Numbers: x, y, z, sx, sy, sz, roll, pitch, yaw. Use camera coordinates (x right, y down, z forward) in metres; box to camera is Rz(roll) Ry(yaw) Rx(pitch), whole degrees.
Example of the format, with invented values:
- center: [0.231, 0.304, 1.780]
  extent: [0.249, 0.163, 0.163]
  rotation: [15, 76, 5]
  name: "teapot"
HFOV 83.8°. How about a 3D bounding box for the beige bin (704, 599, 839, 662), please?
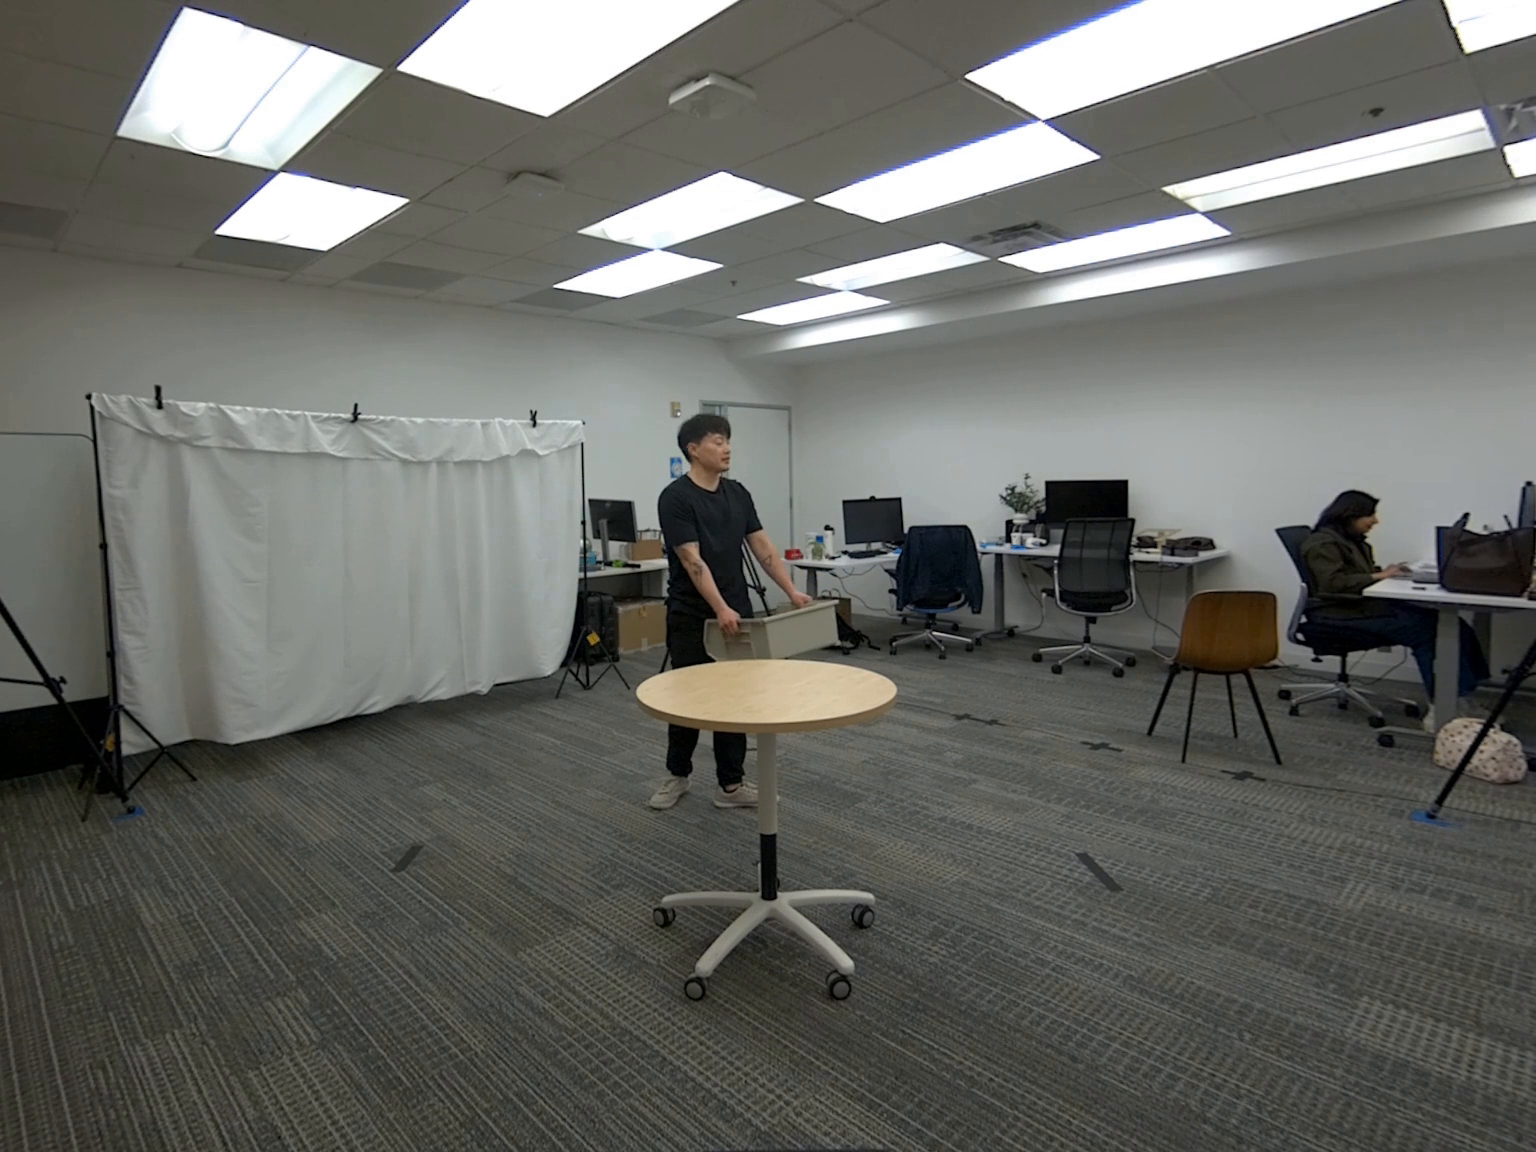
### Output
- center: [0.014, 0.226, 3.448]
  extent: [0.412, 0.188, 0.388]
  rotation: [-10, 6, -42]
  name: "beige bin"
